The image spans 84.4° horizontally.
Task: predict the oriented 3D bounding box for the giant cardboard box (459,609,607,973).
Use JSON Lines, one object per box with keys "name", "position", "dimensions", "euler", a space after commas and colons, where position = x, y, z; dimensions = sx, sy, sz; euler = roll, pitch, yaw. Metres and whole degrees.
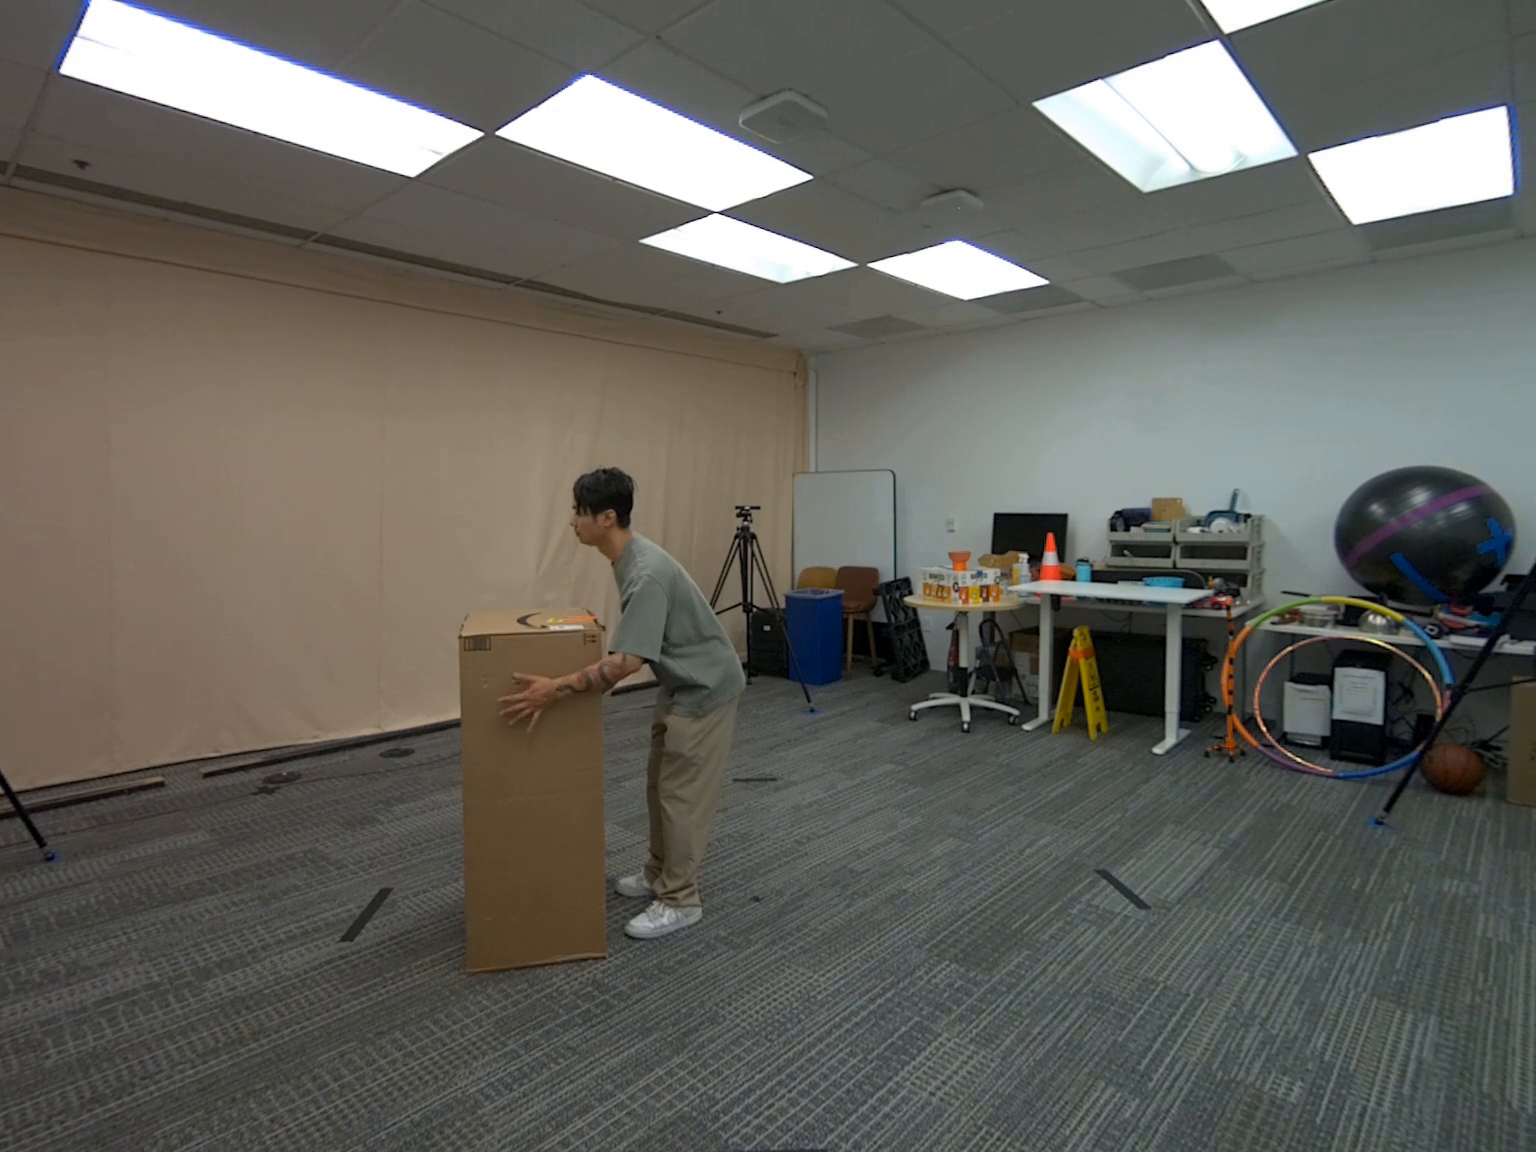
{"name": "giant cardboard box", "position": [-0.794, 0.661, 2.813], "dimensions": [0.420, 1.024, 0.587], "euler": [-1, 3, -16]}
